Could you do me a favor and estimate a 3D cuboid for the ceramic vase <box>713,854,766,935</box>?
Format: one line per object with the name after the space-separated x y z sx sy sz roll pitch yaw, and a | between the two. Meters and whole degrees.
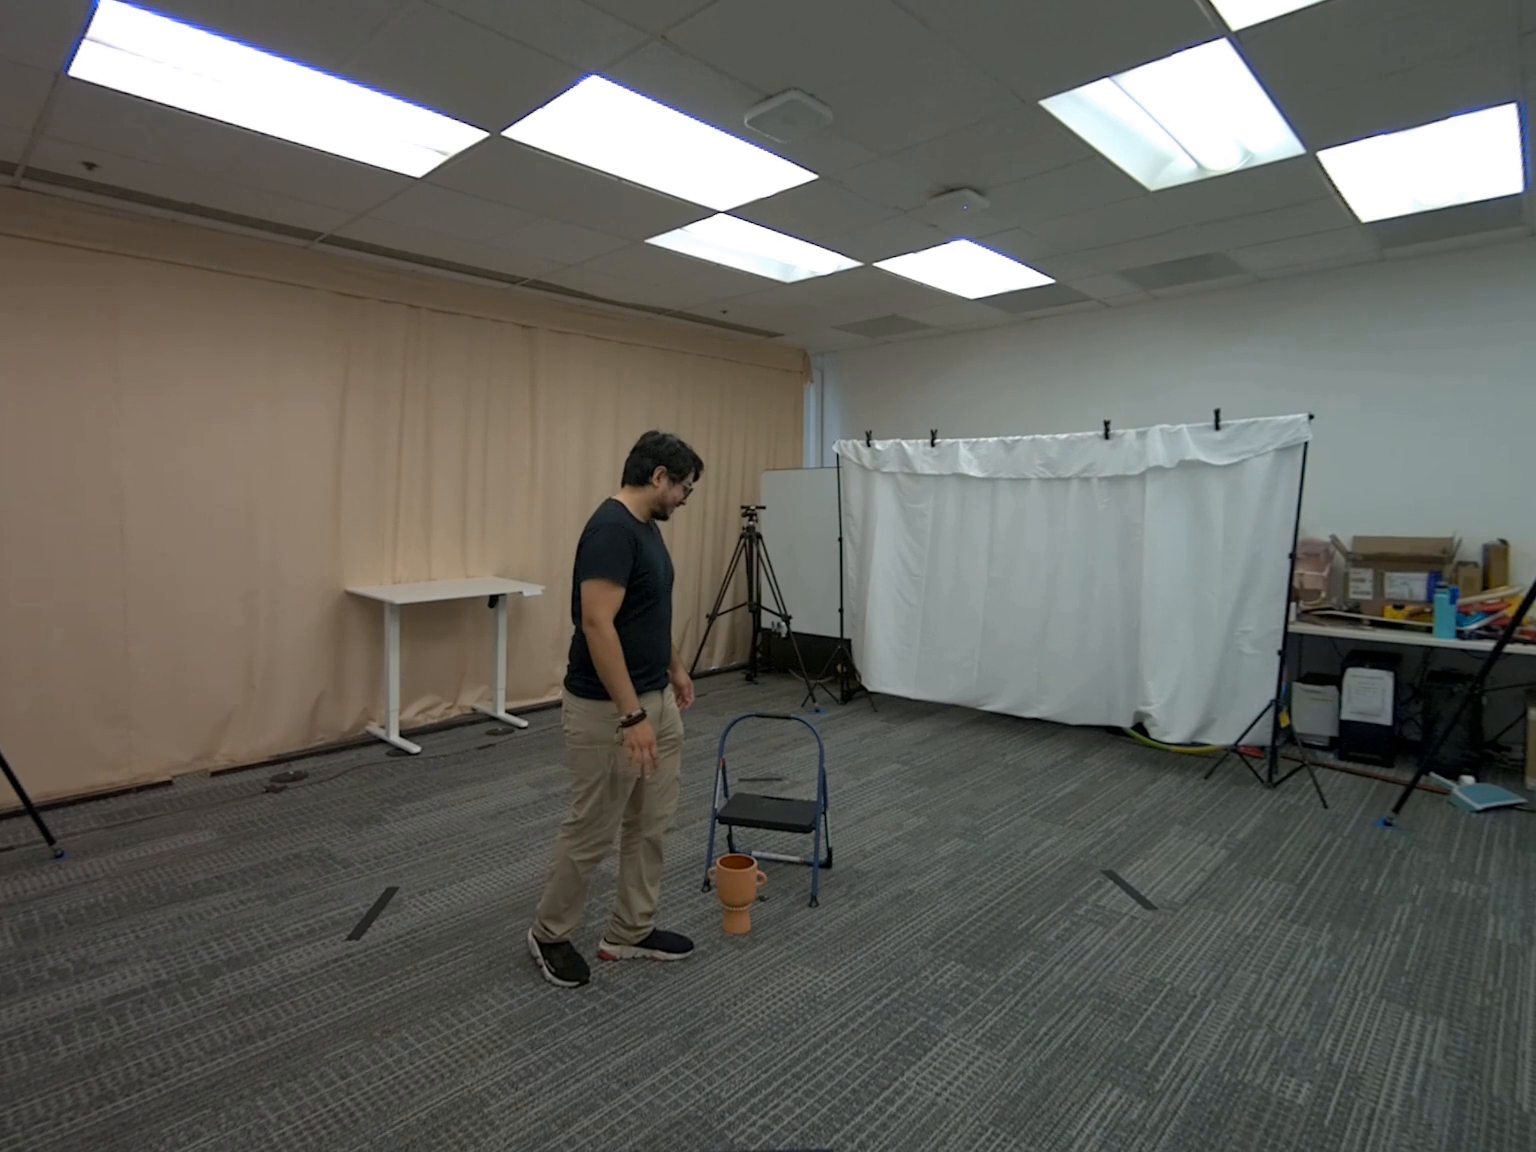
-0.103 1.044 2.775 0.130 0.219 0.164 -3 5 -41 | ceramic vase
